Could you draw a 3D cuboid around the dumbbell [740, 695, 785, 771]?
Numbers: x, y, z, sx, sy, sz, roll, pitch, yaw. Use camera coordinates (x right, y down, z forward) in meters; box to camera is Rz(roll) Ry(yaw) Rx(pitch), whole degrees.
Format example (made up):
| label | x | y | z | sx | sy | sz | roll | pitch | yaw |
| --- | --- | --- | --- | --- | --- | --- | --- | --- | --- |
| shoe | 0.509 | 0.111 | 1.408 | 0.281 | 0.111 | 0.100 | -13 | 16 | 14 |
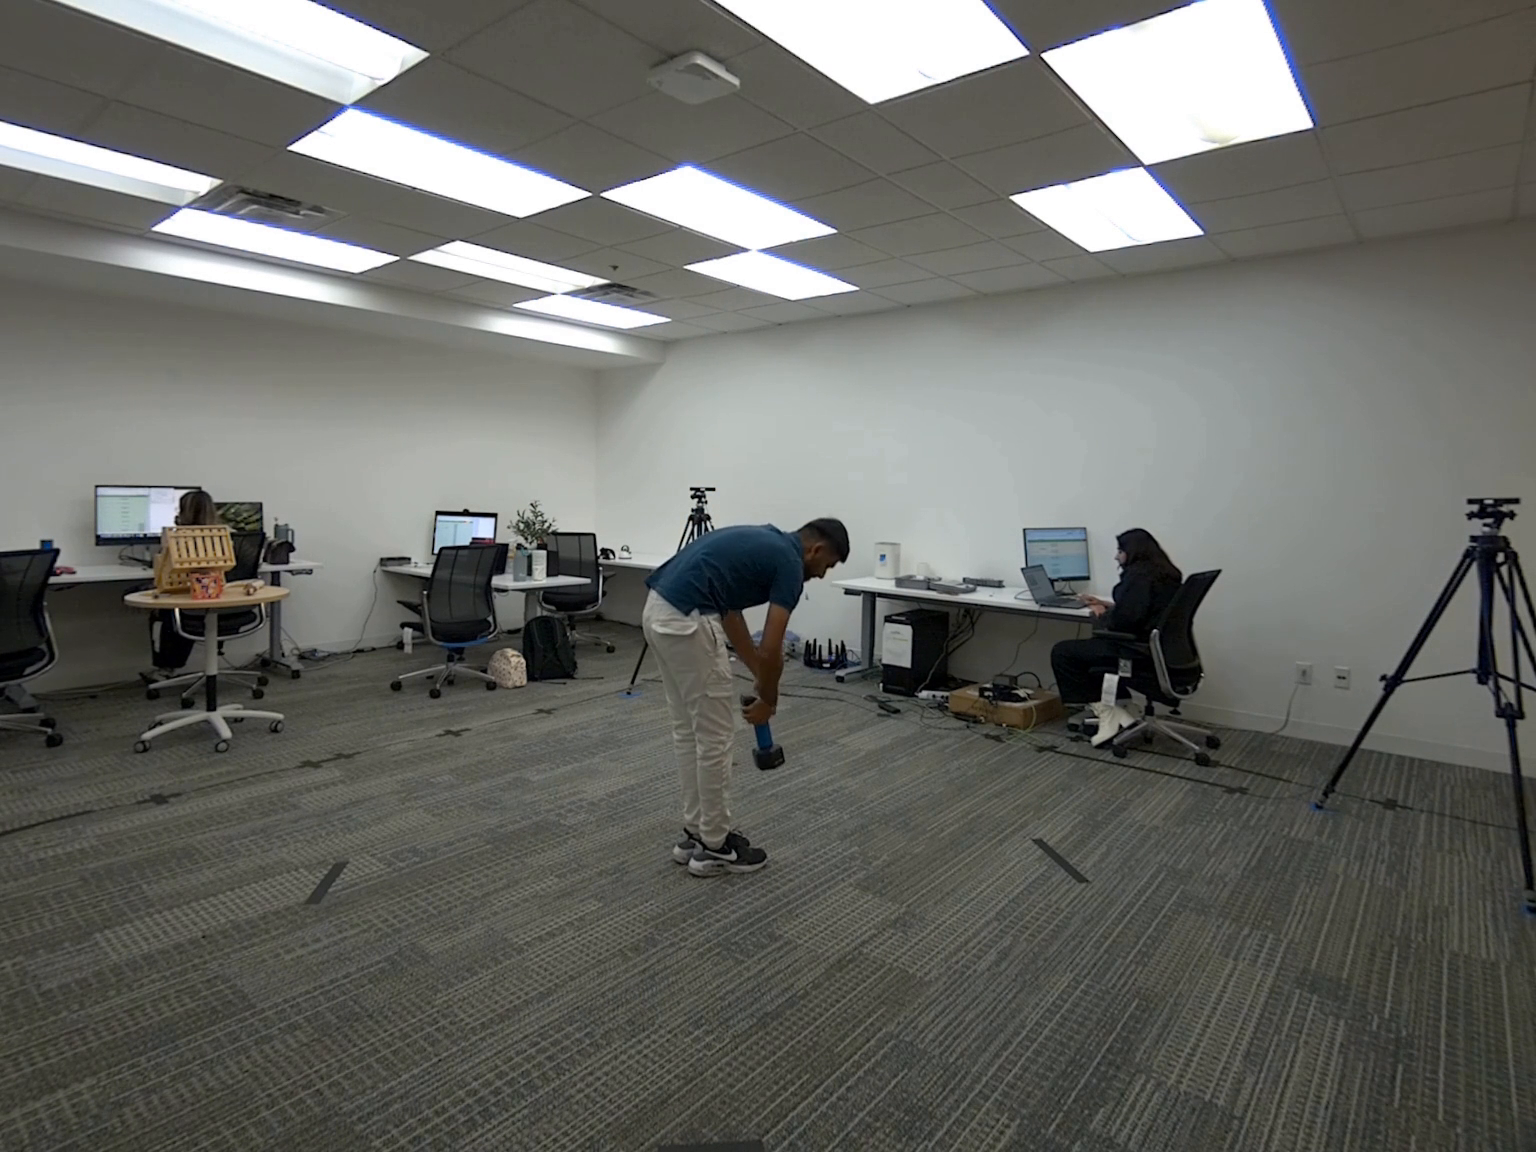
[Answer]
| label | x | y | z | sx | sy | sz | roll | pitch | yaw |
| --- | --- | --- | --- | --- | --- | --- | --- | --- | --- |
| dumbbell | -0.021 | 0.593 | 3.254 | 0.109 | 0.293 | 0.123 | -17 | 2 | 4 |
